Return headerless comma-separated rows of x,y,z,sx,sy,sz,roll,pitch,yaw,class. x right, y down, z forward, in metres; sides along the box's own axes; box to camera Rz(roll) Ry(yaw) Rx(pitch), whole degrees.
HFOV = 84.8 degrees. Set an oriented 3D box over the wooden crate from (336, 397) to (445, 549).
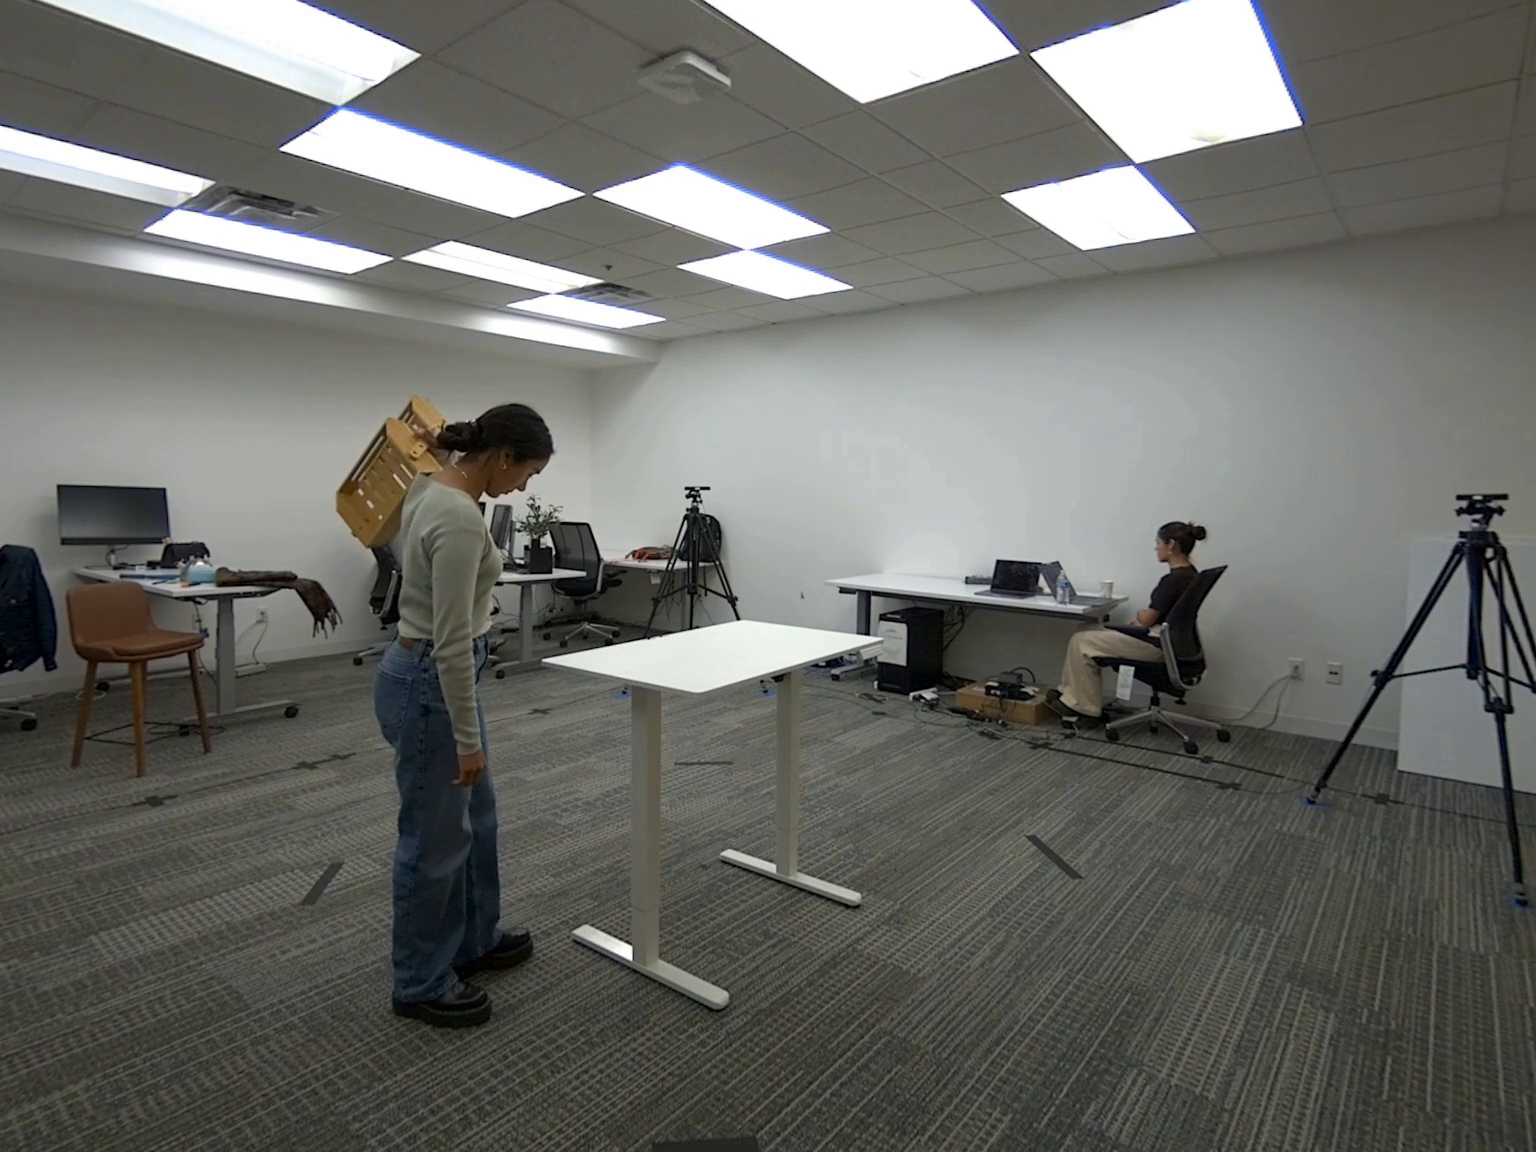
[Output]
-1.087,-0.306,2.439,0.324,0.306,0.270,-46,-8,23,wooden crate
